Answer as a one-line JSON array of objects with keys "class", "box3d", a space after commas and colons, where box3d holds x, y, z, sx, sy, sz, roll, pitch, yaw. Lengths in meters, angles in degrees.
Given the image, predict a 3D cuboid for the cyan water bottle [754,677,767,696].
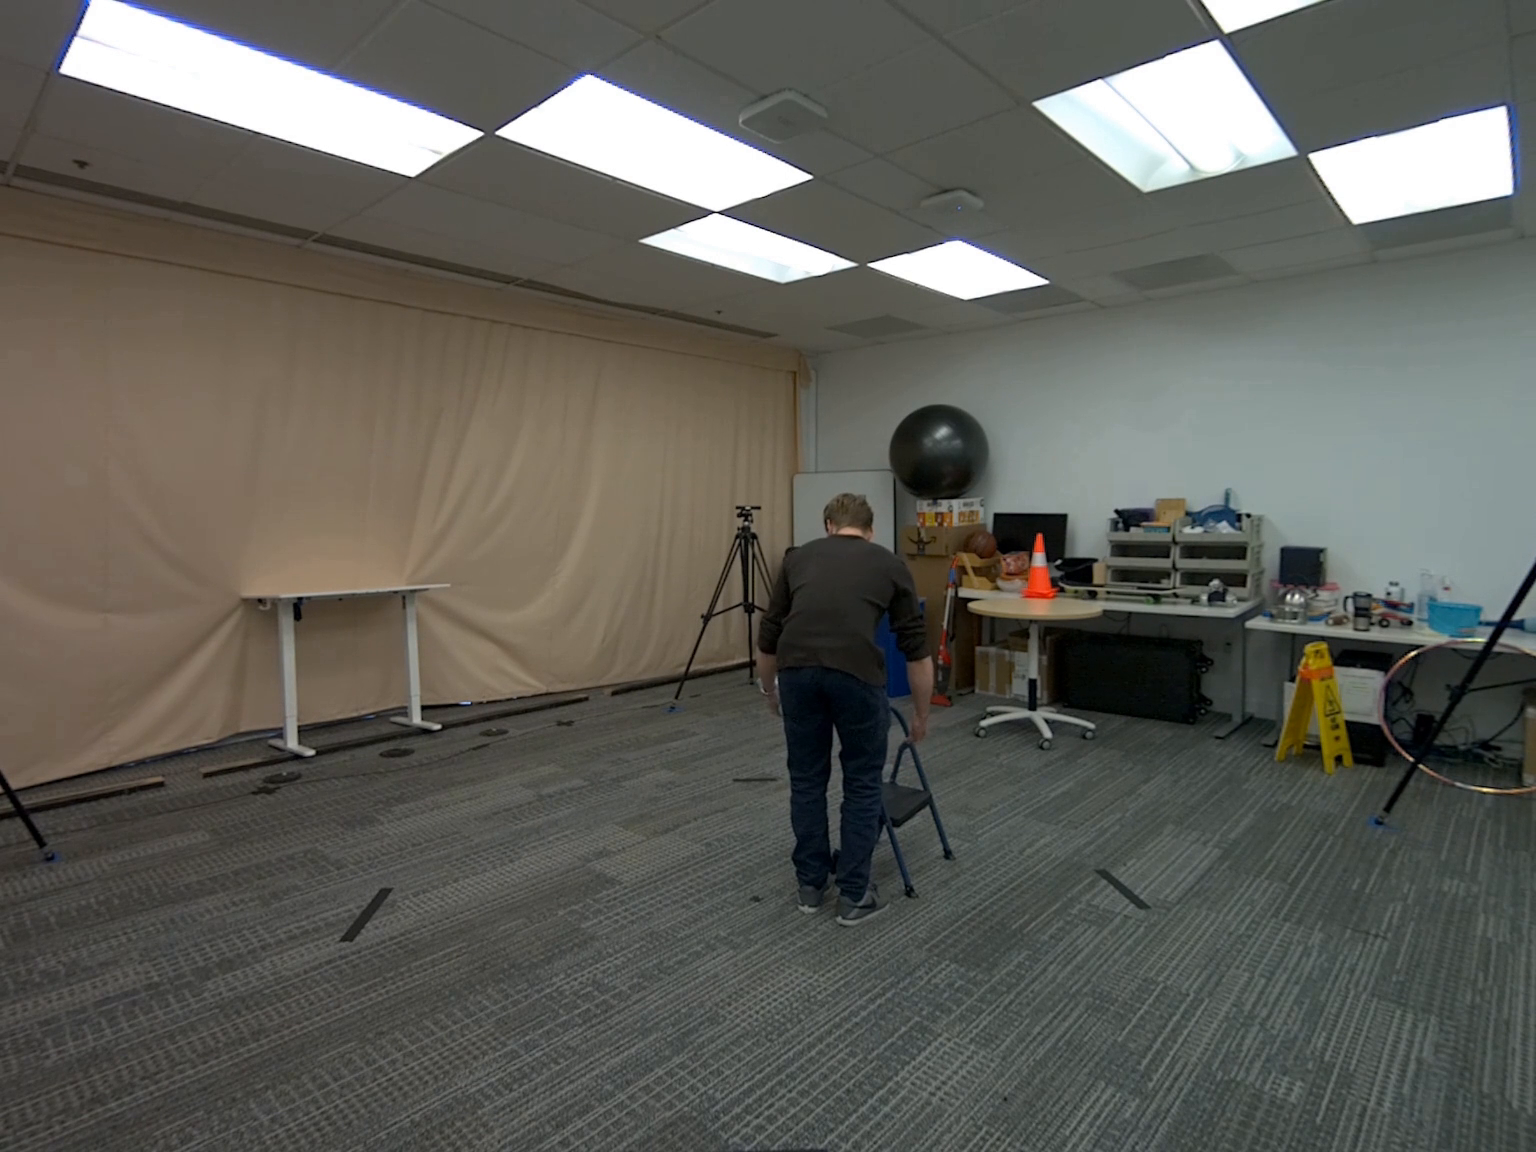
[{"class": "cyan water bottle", "box3d": [0.052, 0.477, 3.361, 0.090, 0.091, 0.291, -2, 16, -20]}]
